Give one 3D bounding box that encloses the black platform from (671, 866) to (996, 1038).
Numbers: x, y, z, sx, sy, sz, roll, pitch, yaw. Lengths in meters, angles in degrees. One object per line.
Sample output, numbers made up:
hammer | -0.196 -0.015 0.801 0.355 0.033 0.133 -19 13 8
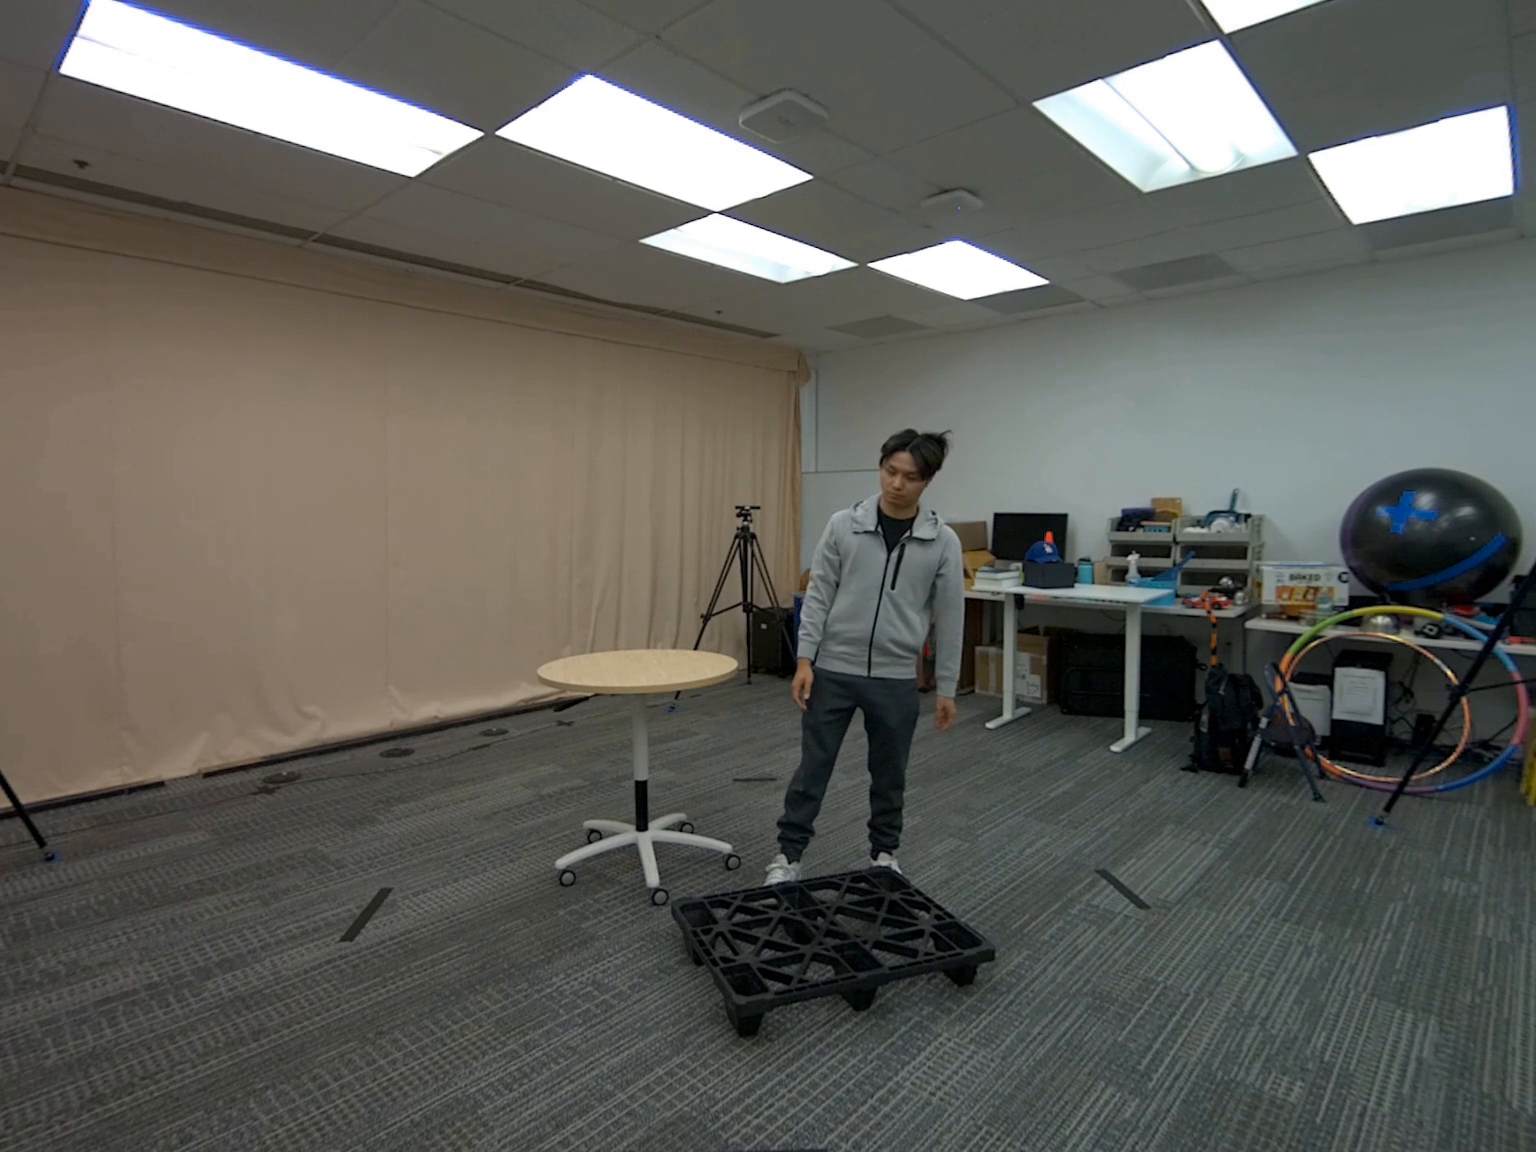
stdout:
black platform | 0.163 1.113 2.539 0.789 0.143 0.619 -2 5 -21
